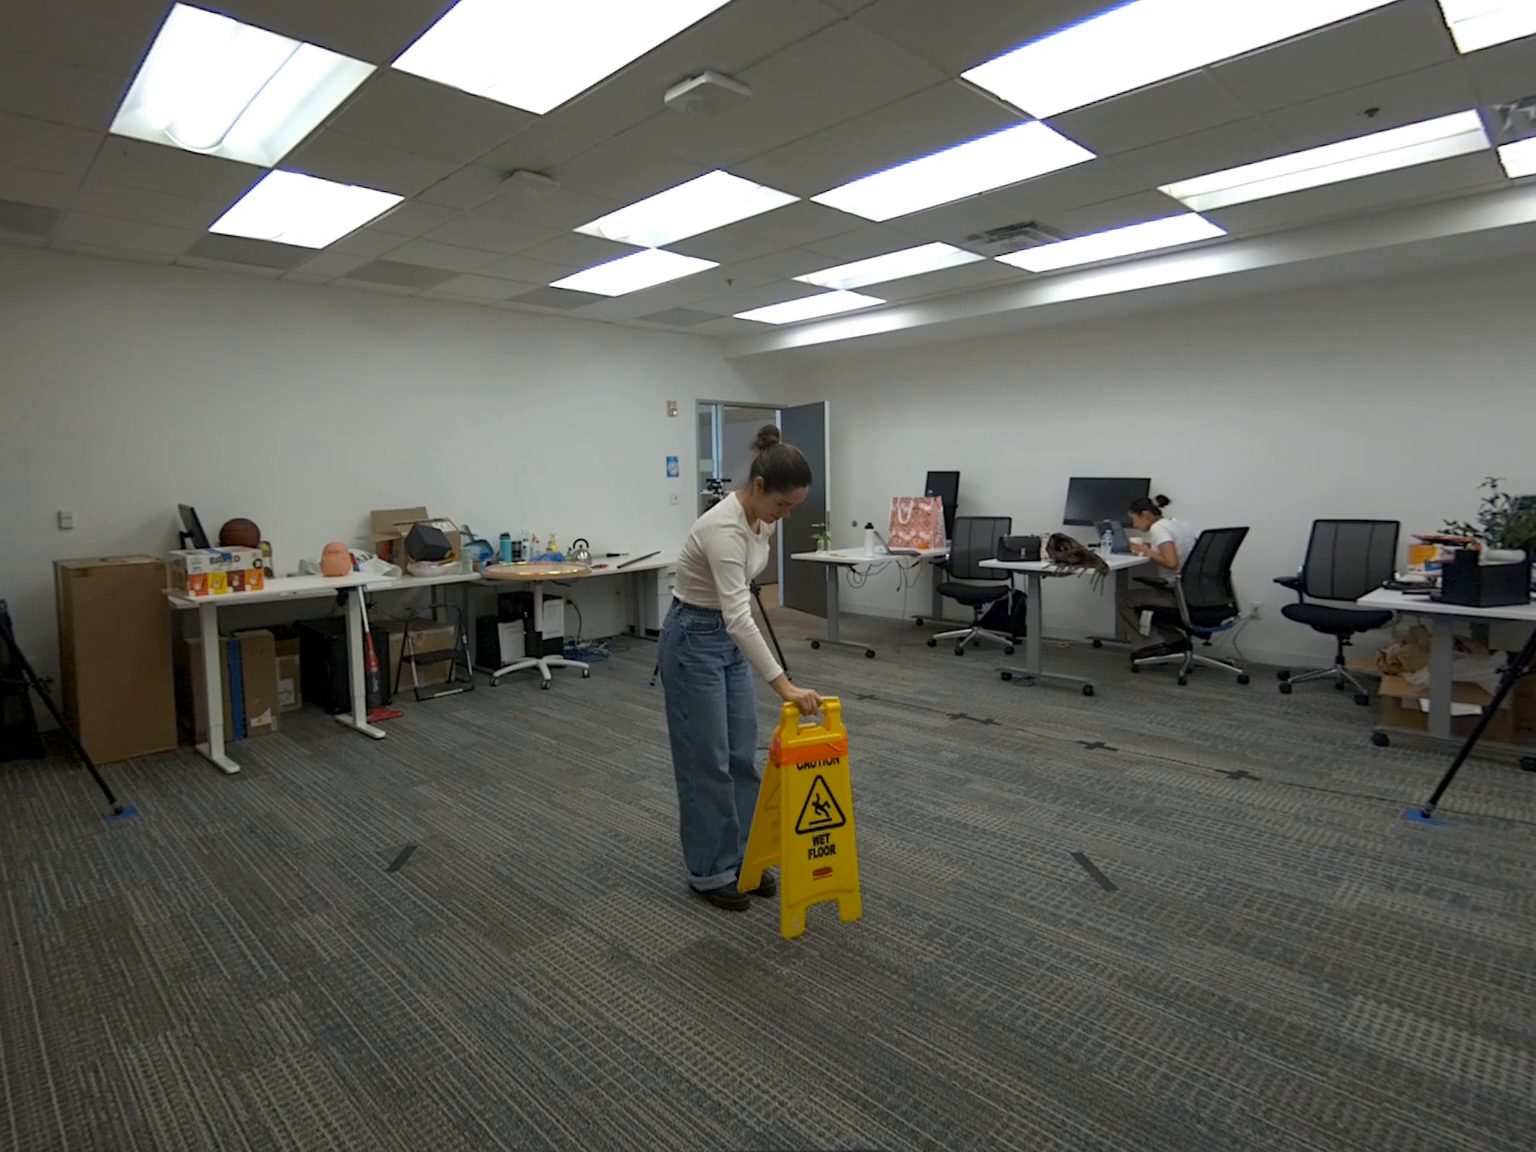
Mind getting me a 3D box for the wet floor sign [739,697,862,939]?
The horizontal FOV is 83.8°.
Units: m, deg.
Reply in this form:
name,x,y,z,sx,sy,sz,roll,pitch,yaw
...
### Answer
name,x,y,z,sx,sy,sz,roll,pitch,yaw
wet floor sign,0.120,0.683,2.565,0.275,0.642,0.299,-2,9,-30
